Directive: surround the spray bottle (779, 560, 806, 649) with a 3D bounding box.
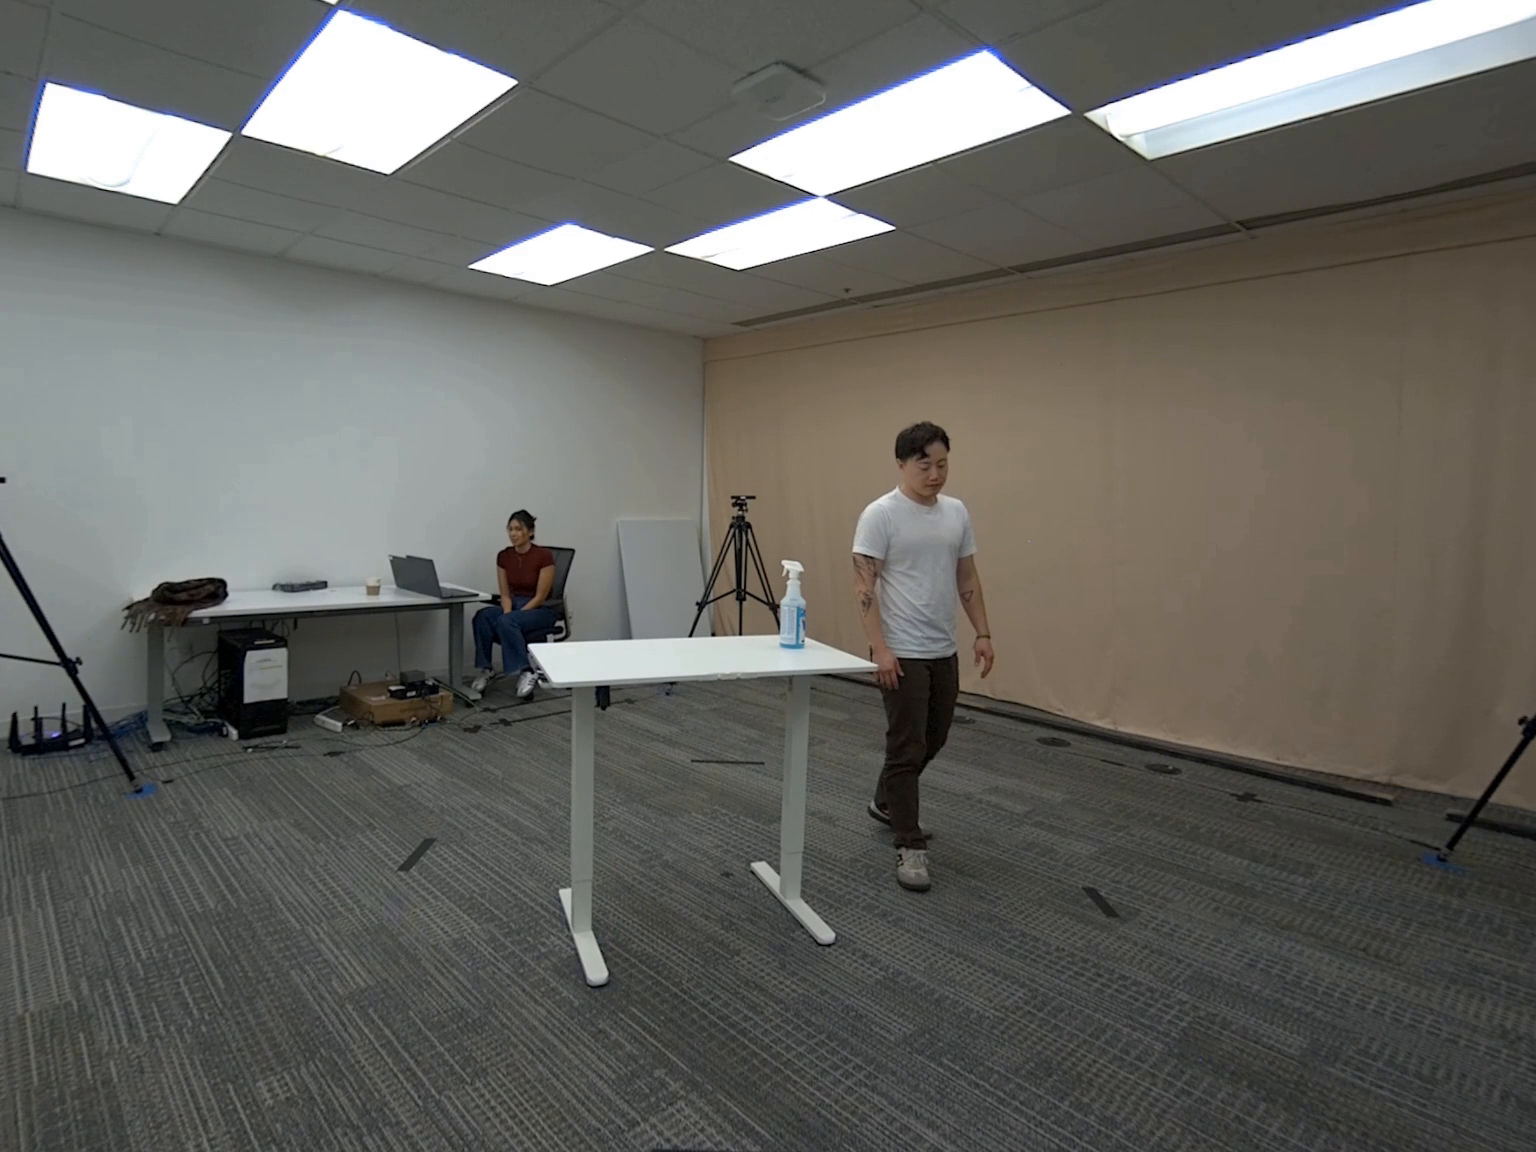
[{"bbox_3d":[0.081,0.101,2.903,0.085,0.296,0.092,-2,4,-23],"label":"spray bottle"}]
